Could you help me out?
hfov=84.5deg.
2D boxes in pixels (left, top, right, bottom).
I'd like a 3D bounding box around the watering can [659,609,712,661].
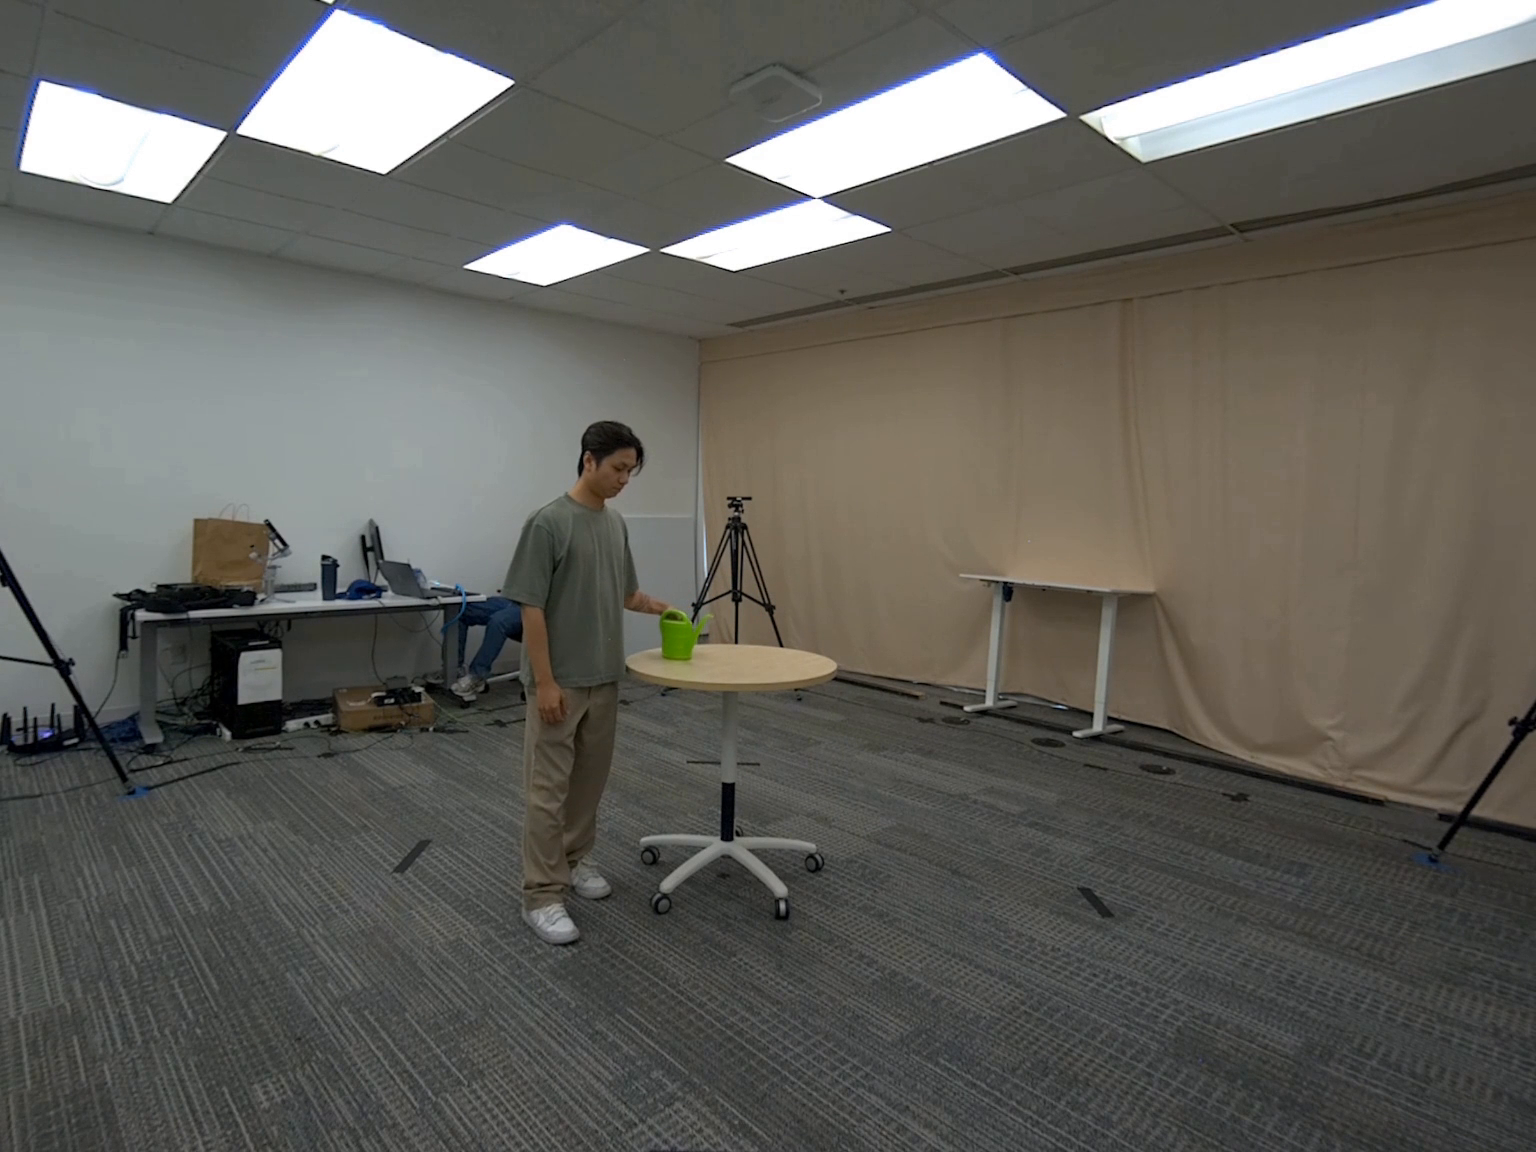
[{"bbox_3d":[-0.326,0.221,3.072,0.096,0.176,0.284,-2,3,-26],"label":"watering can"}]
